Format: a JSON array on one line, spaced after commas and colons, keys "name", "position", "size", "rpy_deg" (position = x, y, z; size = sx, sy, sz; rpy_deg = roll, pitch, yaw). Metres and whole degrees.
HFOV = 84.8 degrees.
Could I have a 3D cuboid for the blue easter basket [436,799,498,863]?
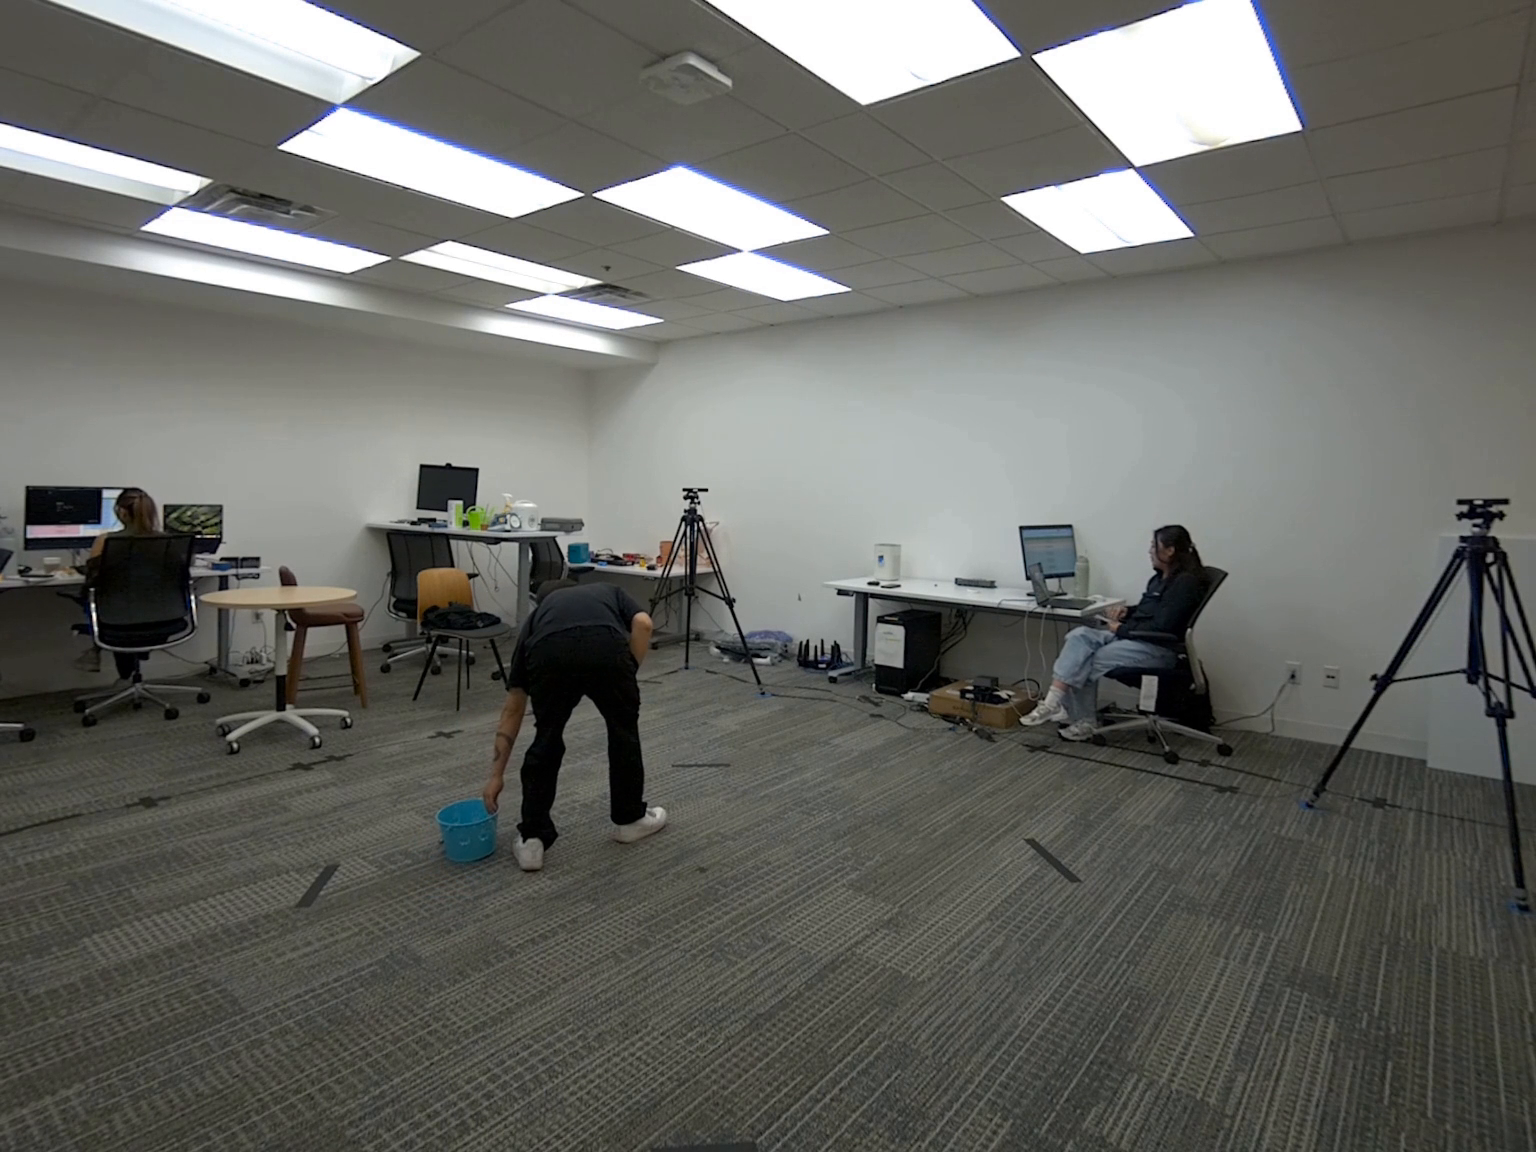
[{"name": "blue easter basket", "position": [-1.140, 0.965, 3.225], "size": [0.243, 0.155, 0.245], "rpy_deg": [-2, 7, -2]}]
